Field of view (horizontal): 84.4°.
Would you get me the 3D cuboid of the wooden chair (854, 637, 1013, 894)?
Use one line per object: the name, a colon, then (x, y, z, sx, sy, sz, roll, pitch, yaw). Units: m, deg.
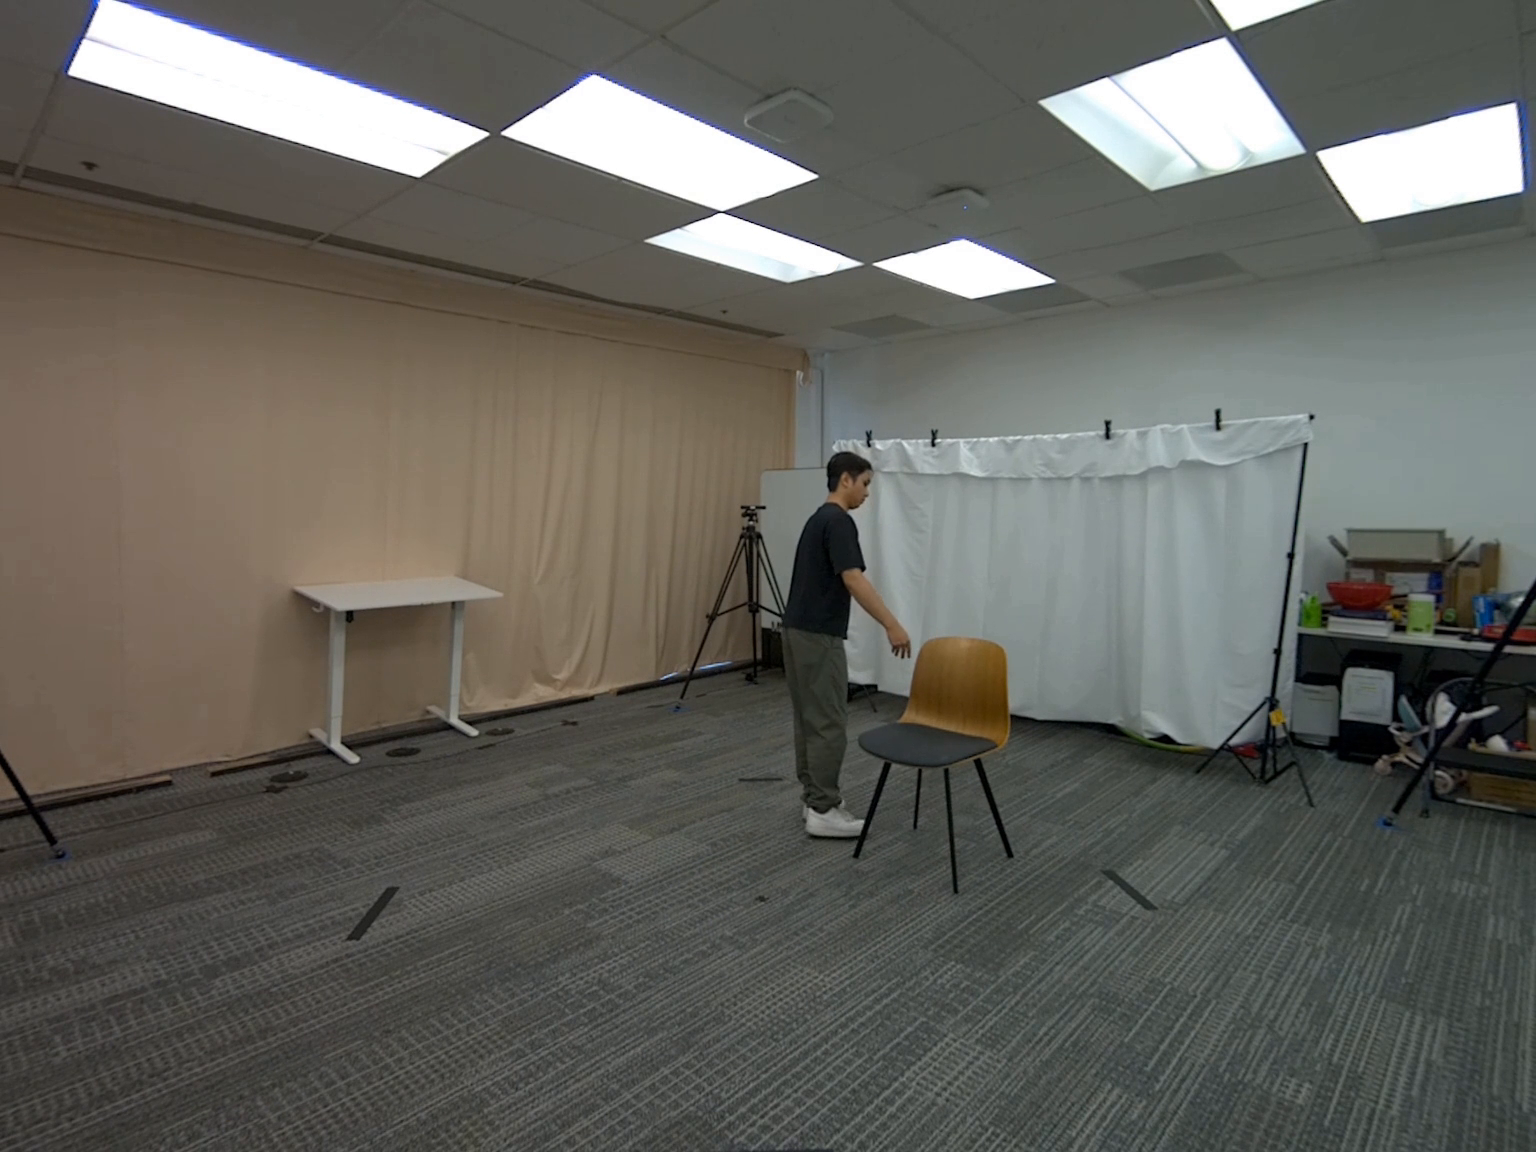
wooden chair: (0.654, 0.688, 3.292, 0.494, 0.877, 0.506, 3, 0, 43)
